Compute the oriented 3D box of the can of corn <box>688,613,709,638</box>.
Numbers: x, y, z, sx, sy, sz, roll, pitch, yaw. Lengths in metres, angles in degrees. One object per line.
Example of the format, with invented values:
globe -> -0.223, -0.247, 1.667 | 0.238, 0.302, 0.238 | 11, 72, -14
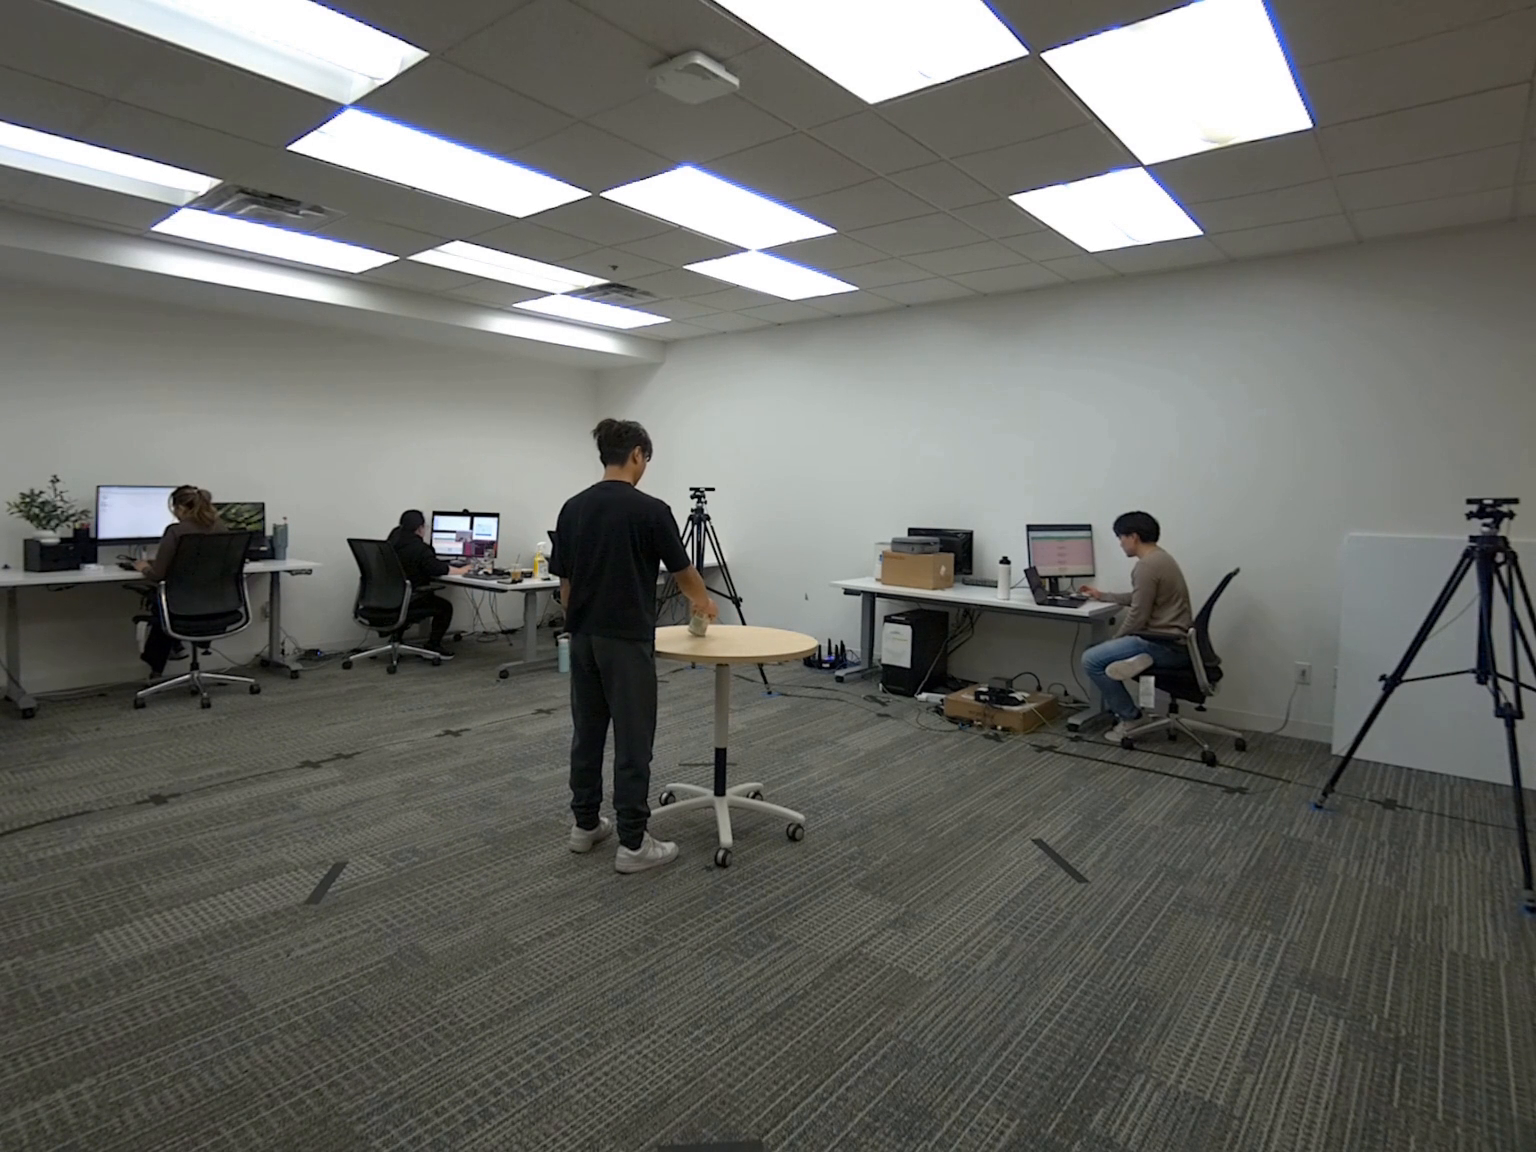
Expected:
can of corn -> -0.288, 0.181, 3.508 | 0.074, 0.110, 0.075 | 15, 10, -5
